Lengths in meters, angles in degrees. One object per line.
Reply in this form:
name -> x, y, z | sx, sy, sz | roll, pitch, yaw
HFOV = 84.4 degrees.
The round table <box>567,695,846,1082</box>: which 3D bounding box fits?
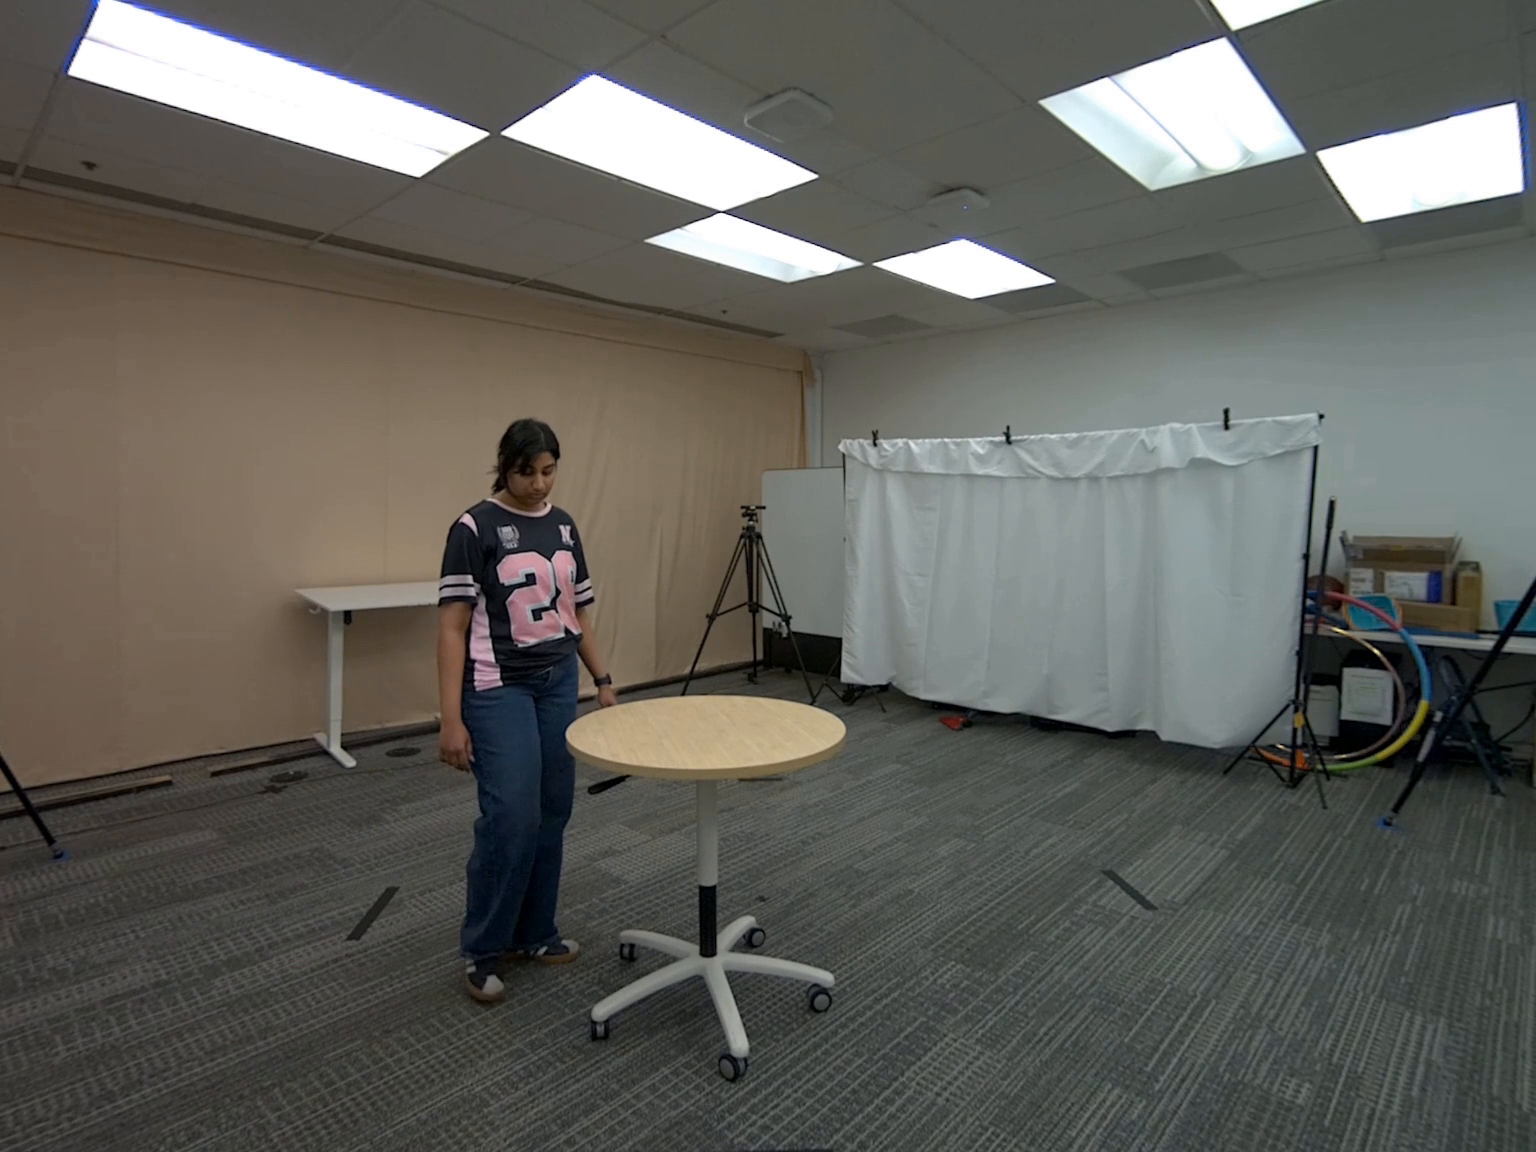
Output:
round table -> -0.163, 0.813, 2.339 | 0.763, 0.792, 0.766 | -1, 4, -2
